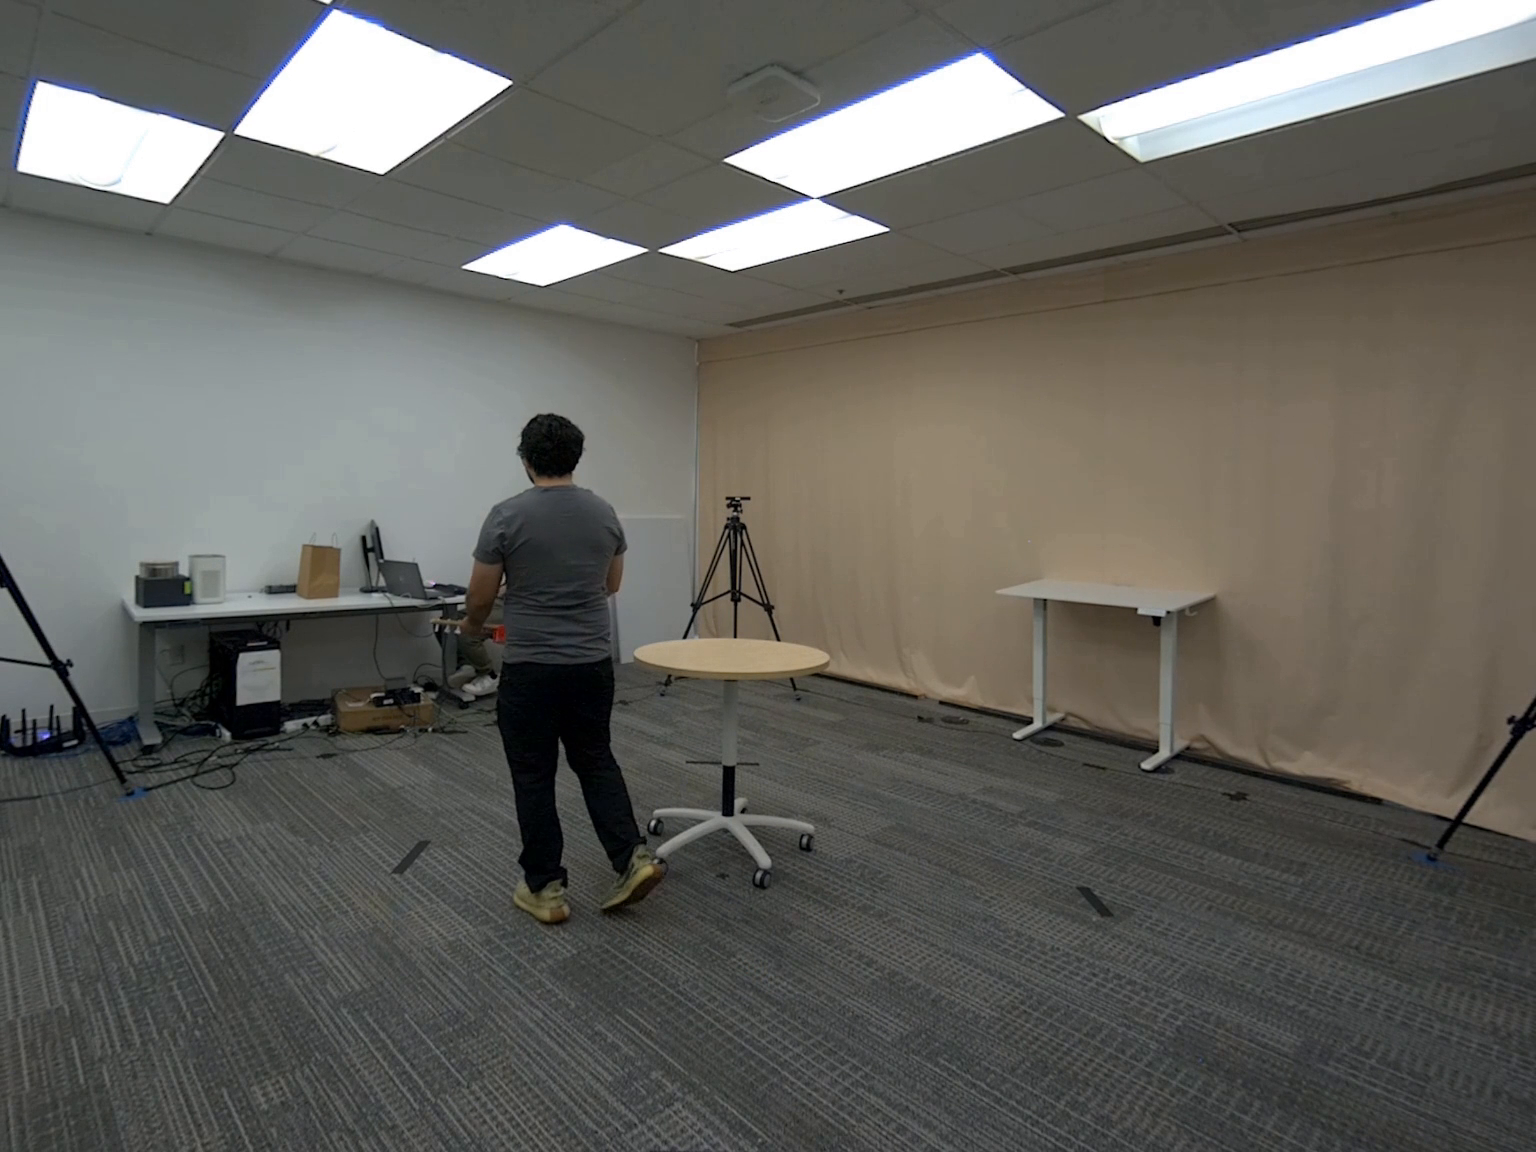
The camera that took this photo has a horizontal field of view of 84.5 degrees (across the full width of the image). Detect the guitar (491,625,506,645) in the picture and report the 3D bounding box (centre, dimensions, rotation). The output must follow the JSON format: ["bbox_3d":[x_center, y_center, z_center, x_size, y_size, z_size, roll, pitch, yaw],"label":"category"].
[{"bbox_3d":[-0.951,0.217,3.069,0.498,0.071,0.190,2,-16,0],"label":"guitar"}]
